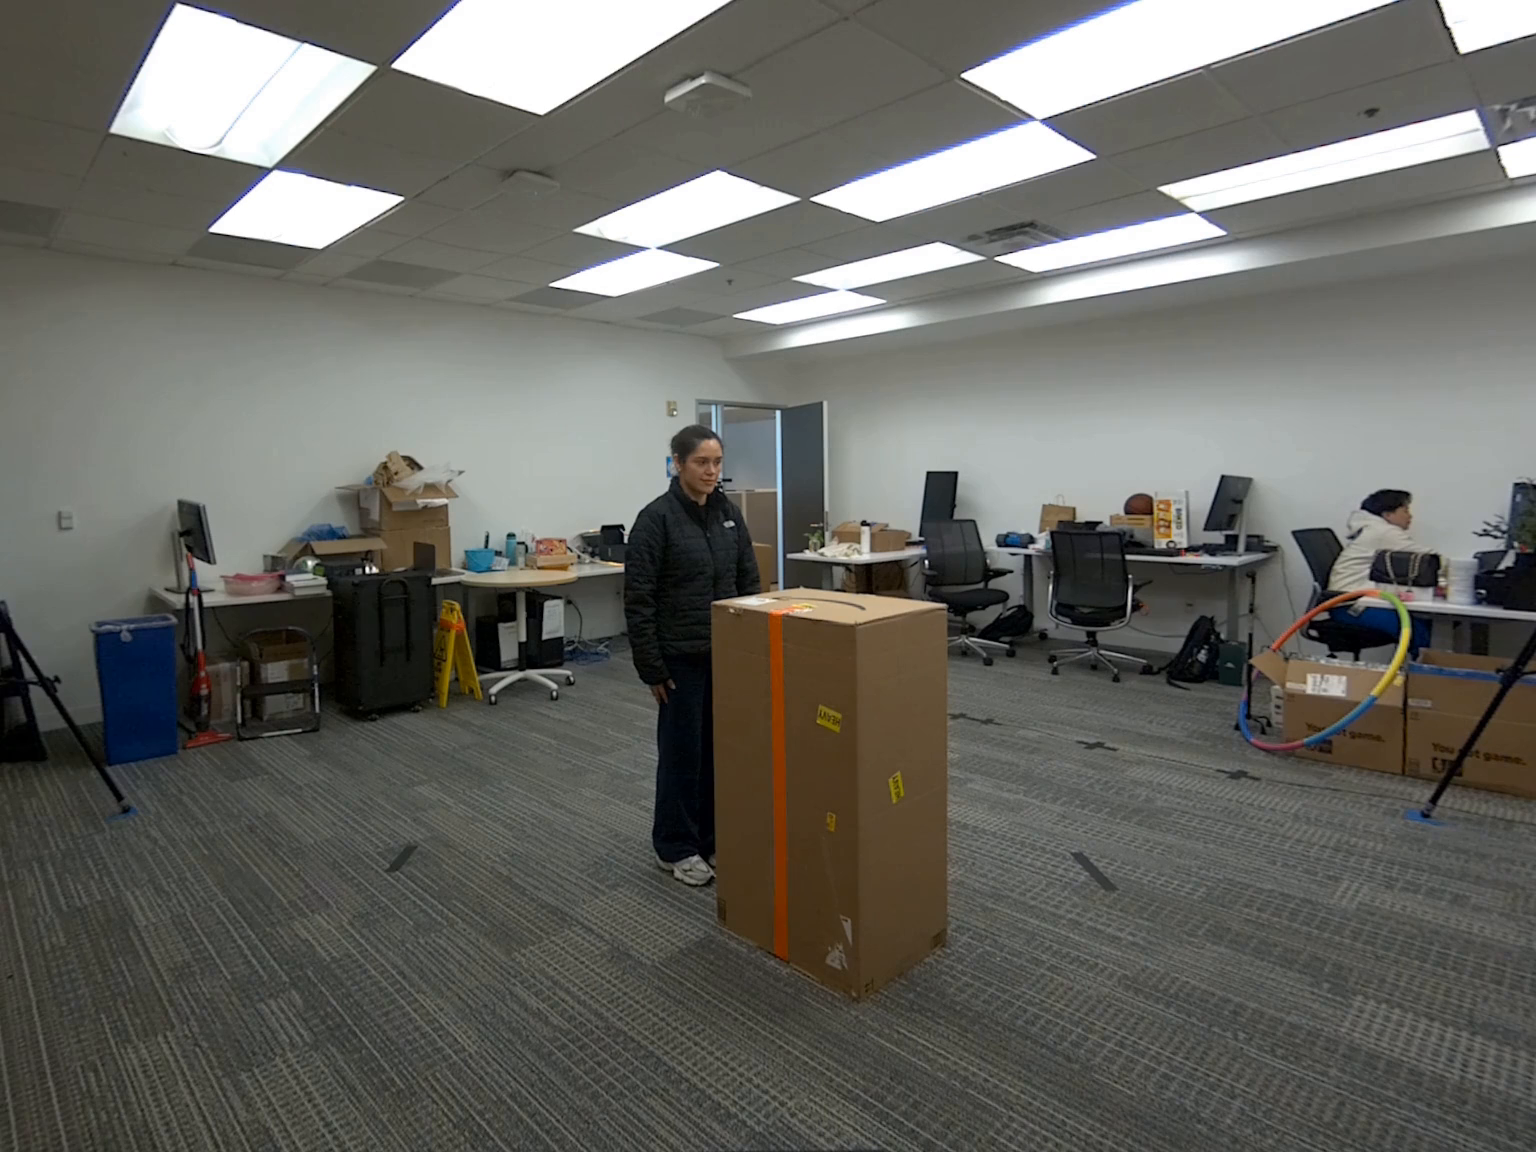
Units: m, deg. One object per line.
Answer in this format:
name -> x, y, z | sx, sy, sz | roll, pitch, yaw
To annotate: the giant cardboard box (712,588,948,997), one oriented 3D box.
giant cardboard box -> 0.184, 0.590, 2.595 | 0.415, 1.022, 0.595 | -5, 6, -44
